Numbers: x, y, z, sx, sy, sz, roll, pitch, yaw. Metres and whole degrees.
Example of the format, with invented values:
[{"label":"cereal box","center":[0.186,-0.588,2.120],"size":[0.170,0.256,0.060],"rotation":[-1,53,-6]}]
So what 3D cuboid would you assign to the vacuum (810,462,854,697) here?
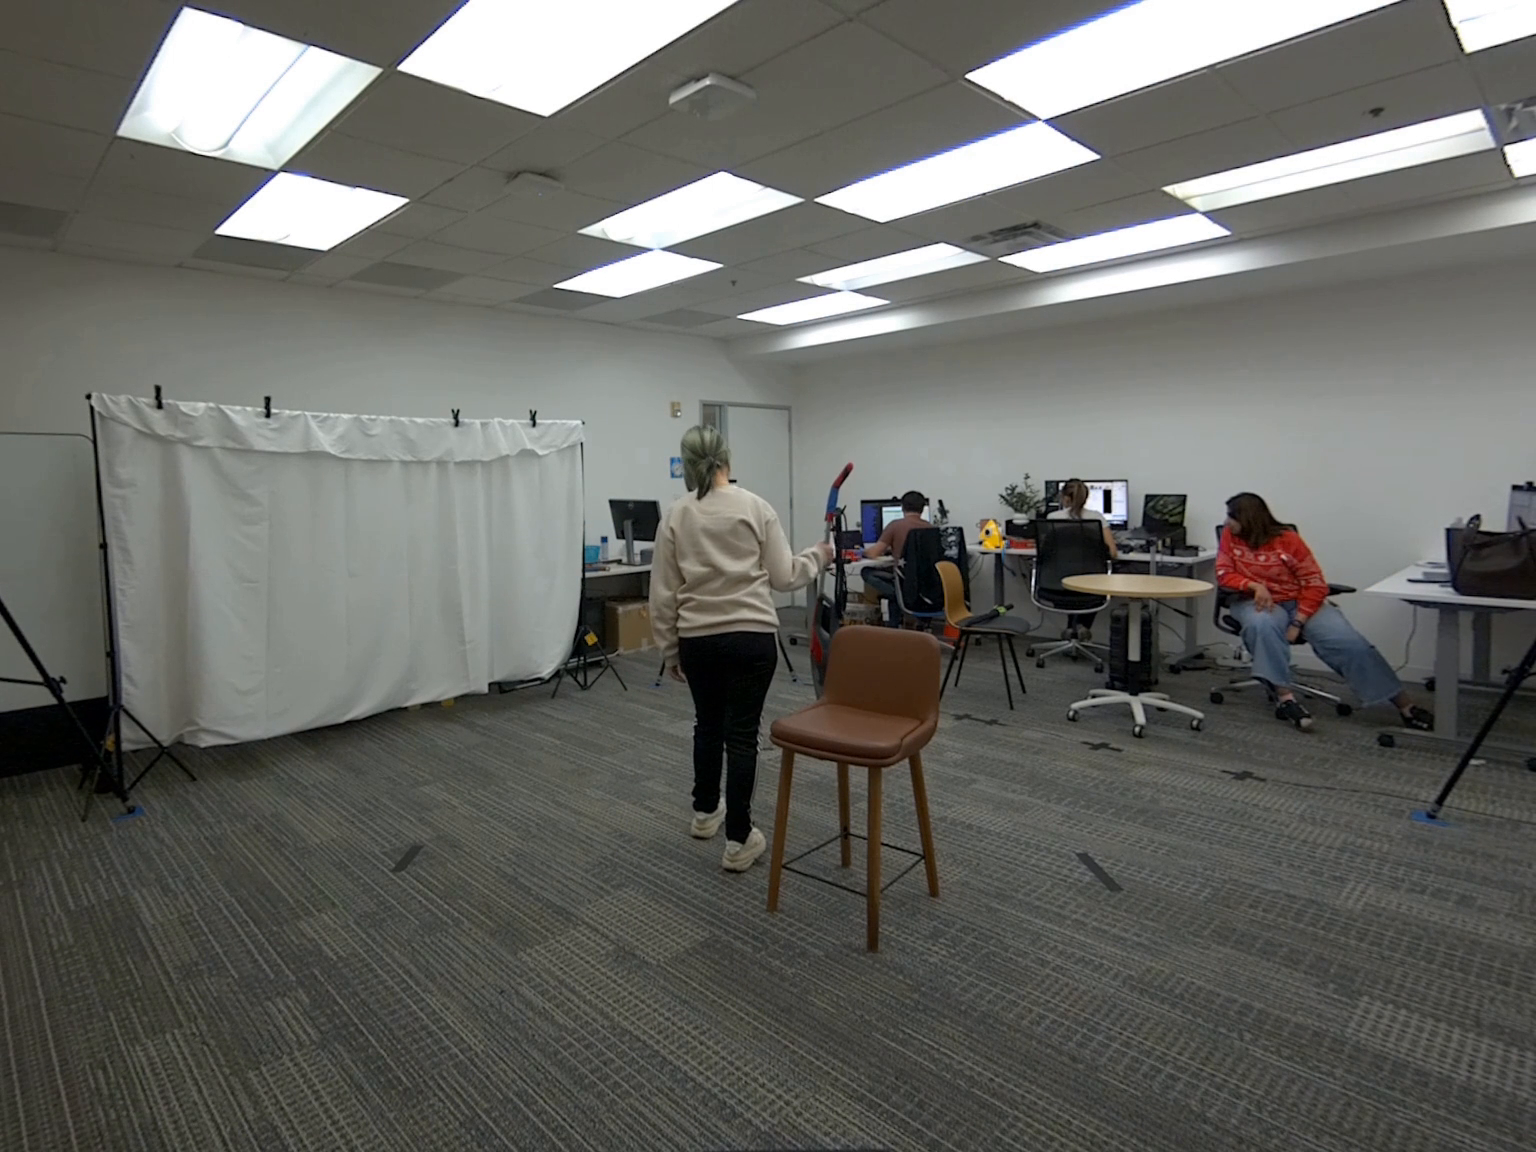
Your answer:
[{"label":"vacuum","center":[0.254,0.084,3.351],"size":[0.145,1.041,0.253],"rotation":[9,10,4]}]
